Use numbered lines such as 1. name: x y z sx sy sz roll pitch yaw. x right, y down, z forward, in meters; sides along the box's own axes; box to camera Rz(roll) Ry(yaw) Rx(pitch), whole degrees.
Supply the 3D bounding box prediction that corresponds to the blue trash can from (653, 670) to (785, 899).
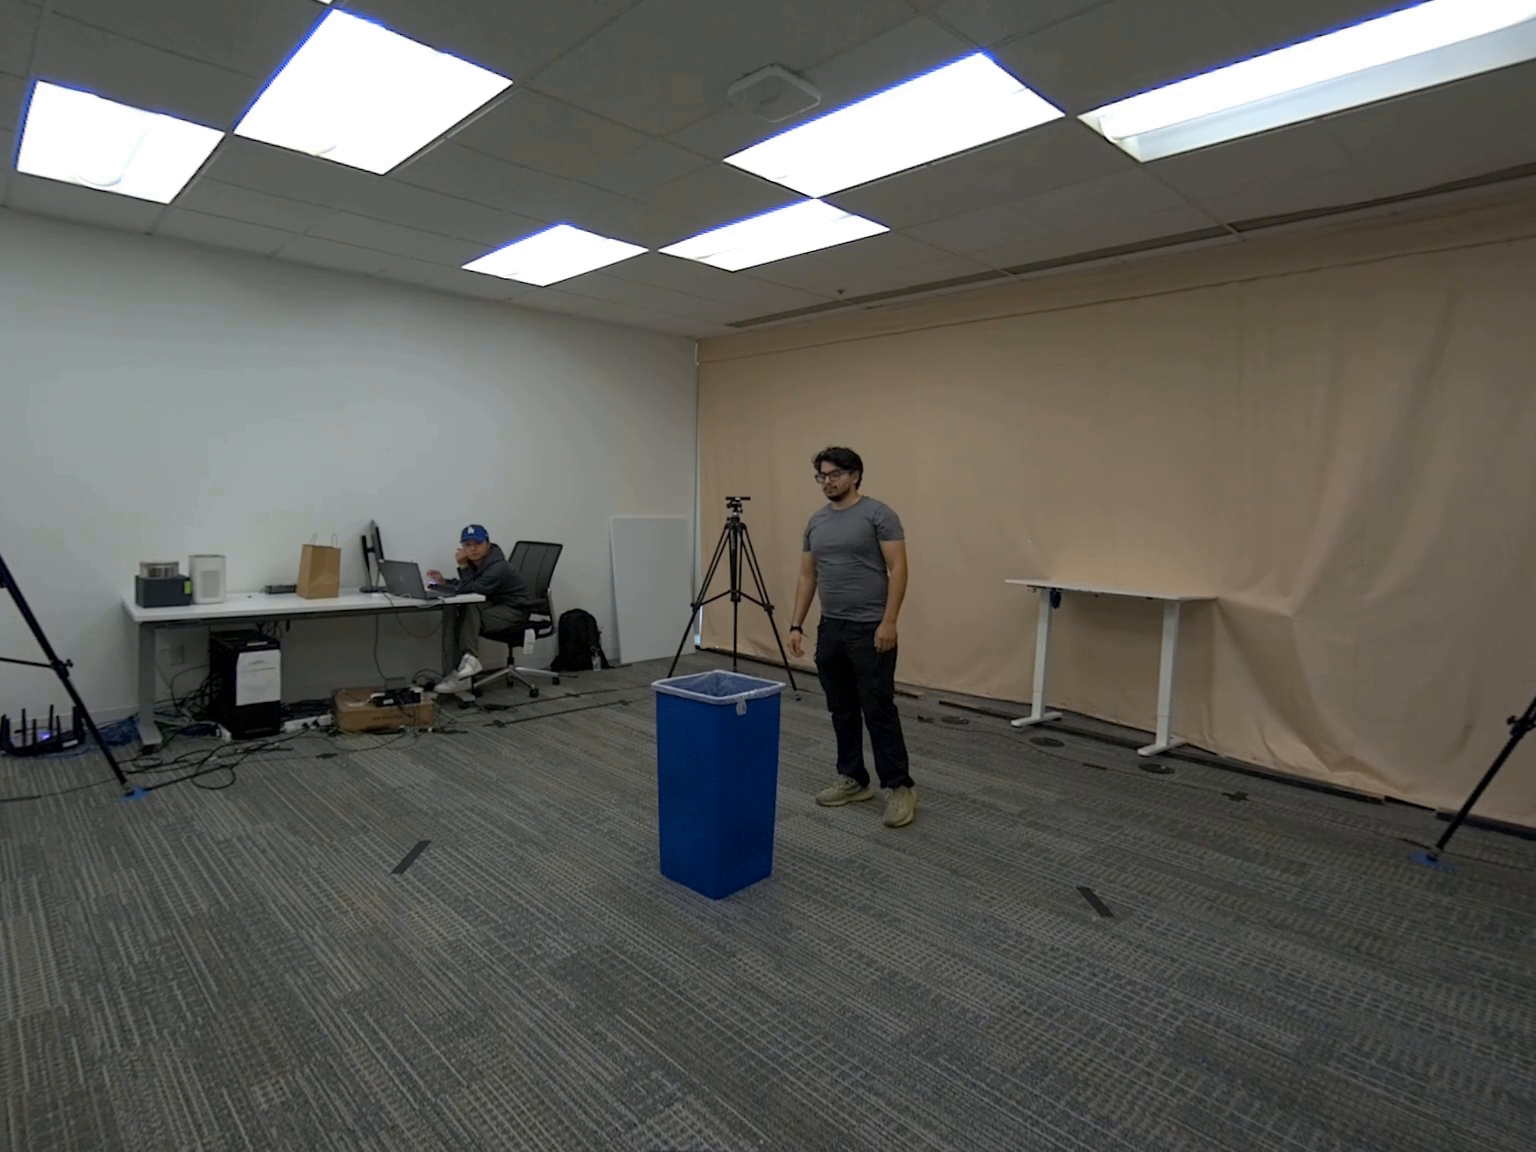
1. blue trash can: -0.199 0.747 3.101 0.383 0.712 0.369 4 4 42
